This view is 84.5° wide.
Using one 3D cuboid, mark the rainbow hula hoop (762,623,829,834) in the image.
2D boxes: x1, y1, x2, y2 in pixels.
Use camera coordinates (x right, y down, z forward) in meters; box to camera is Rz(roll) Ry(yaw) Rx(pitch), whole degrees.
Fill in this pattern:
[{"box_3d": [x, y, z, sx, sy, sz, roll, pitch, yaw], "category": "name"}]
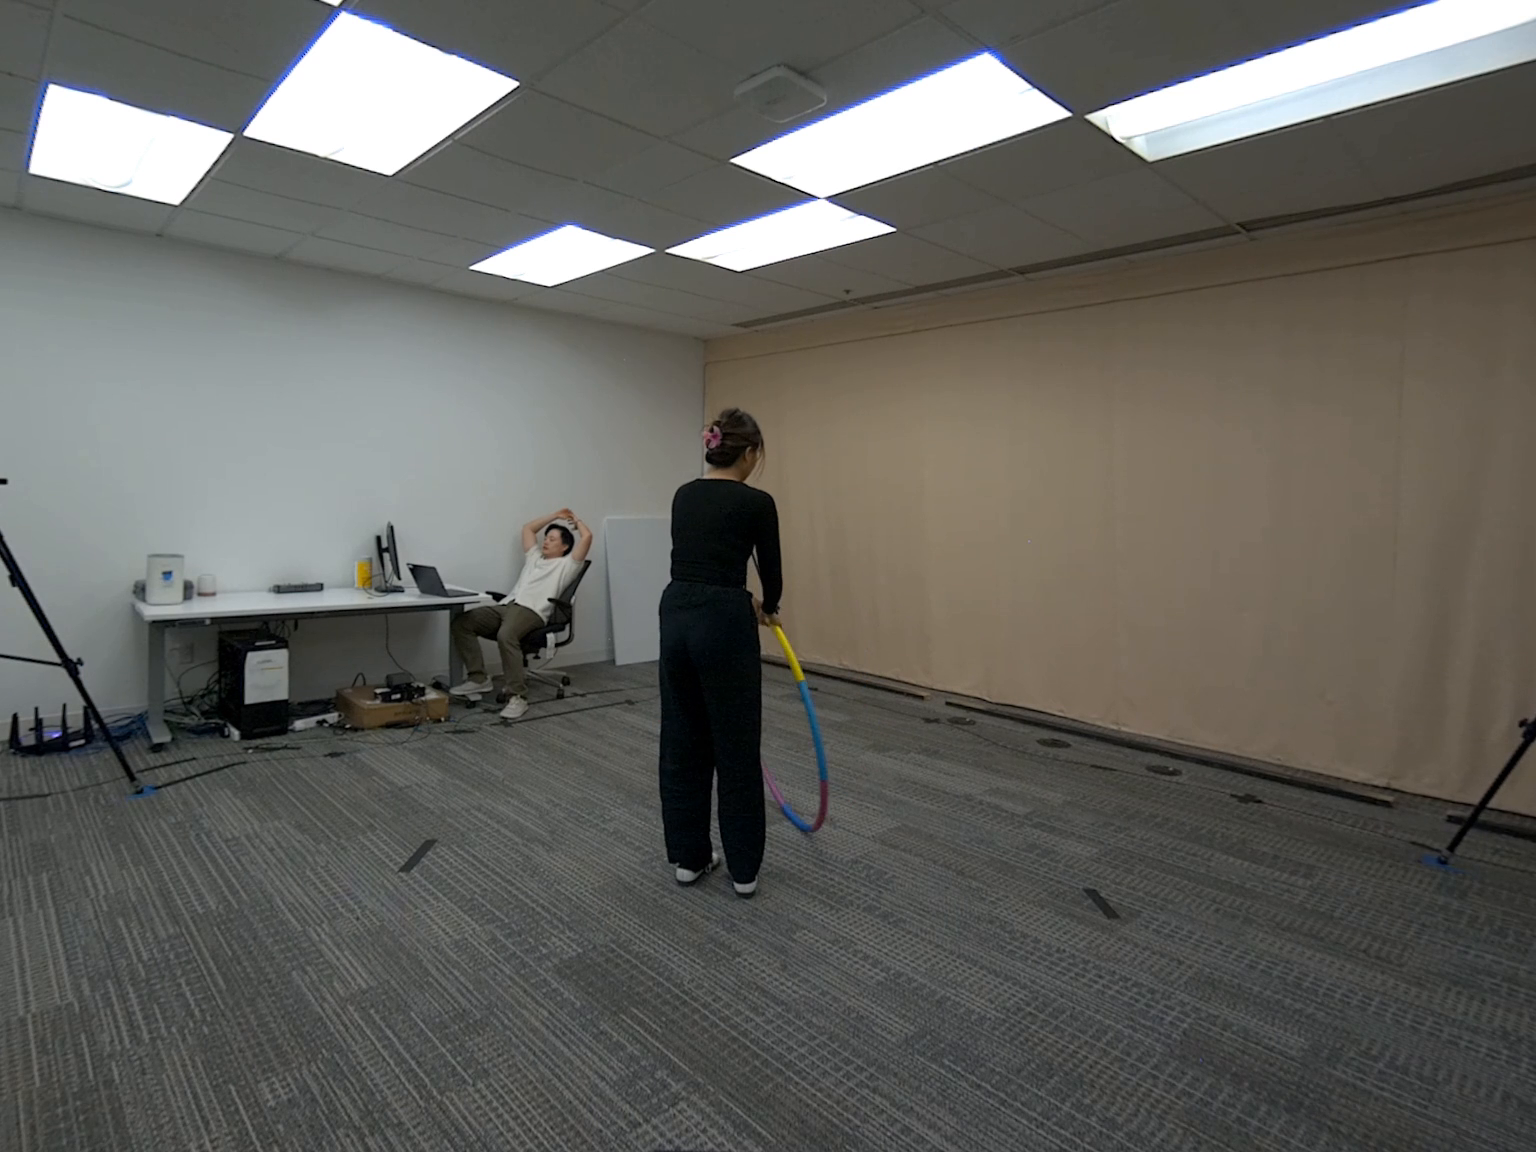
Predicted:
[{"box_3d": [0.027, 0.597, 3.579, 0.035, 0.972, 0.995, -14, 9, -18], "category": "rainbow hula hoop"}]
